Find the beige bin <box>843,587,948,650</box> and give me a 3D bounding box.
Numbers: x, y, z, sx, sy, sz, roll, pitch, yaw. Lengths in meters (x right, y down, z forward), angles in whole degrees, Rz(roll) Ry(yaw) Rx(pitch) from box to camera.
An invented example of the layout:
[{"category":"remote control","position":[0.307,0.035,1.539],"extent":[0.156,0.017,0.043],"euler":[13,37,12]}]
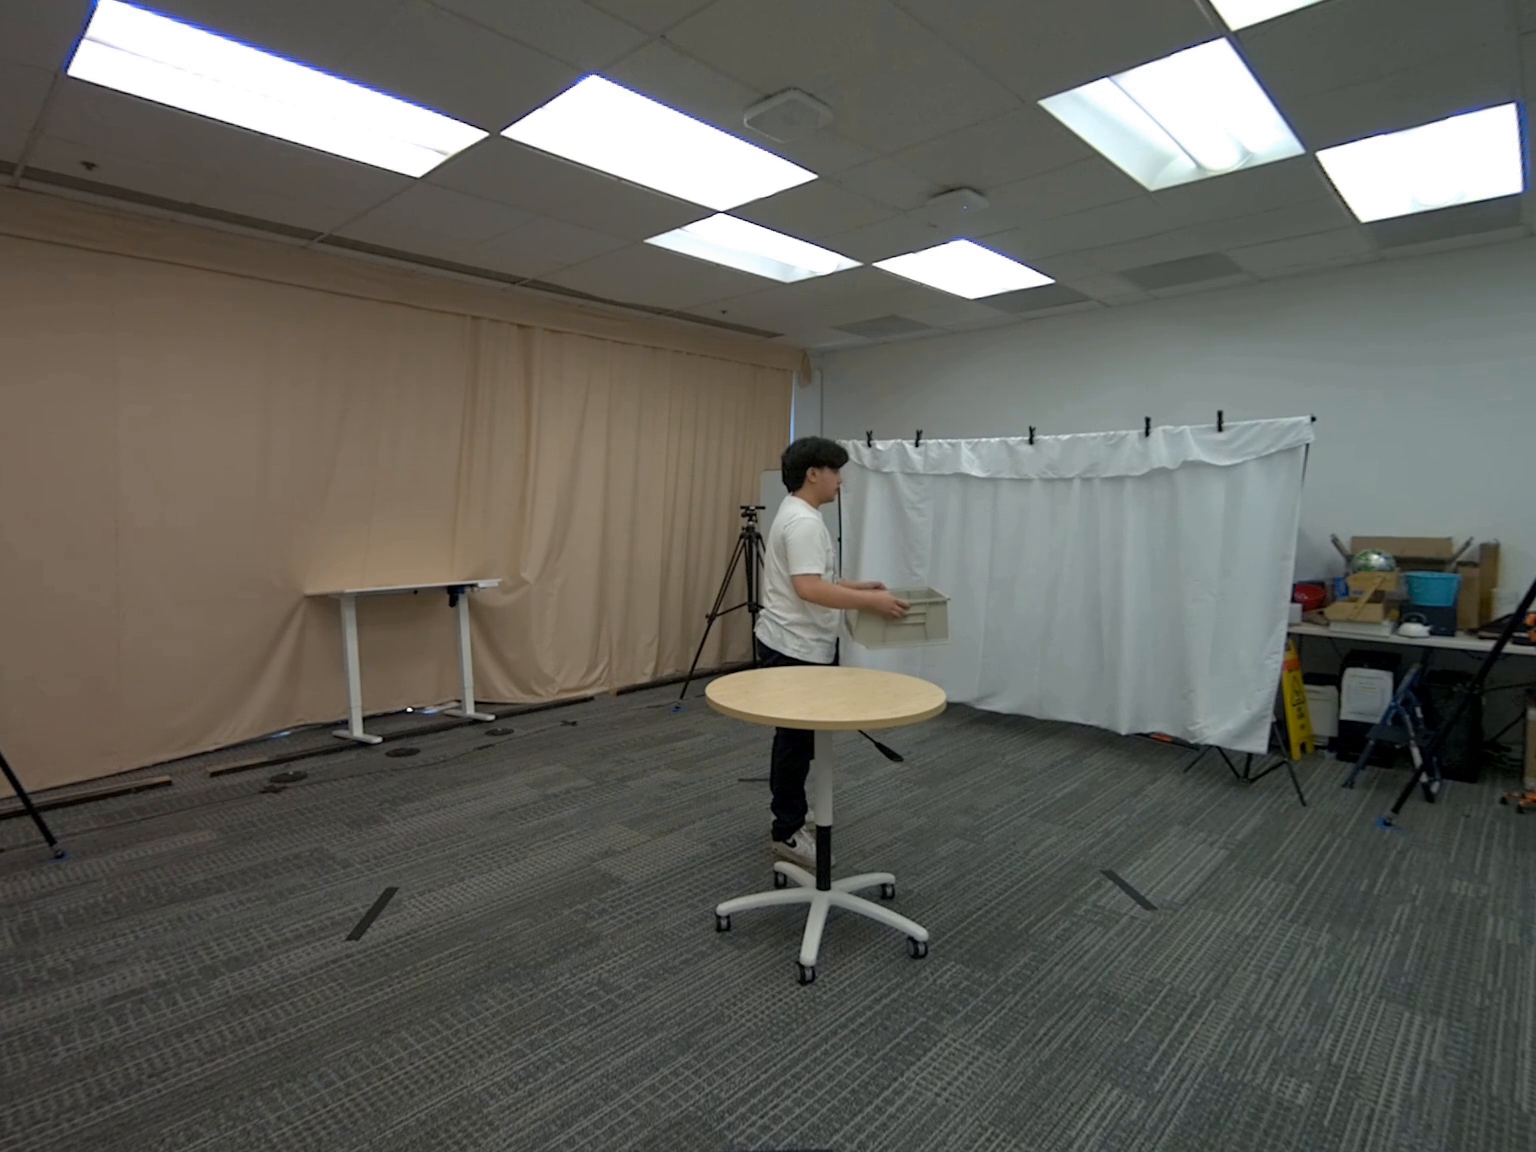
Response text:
[{"category":"beige bin","position":[0.519,0.154,3.431],"extent":[0.379,0.188,0.421],"euler":[1,4,3]}]
